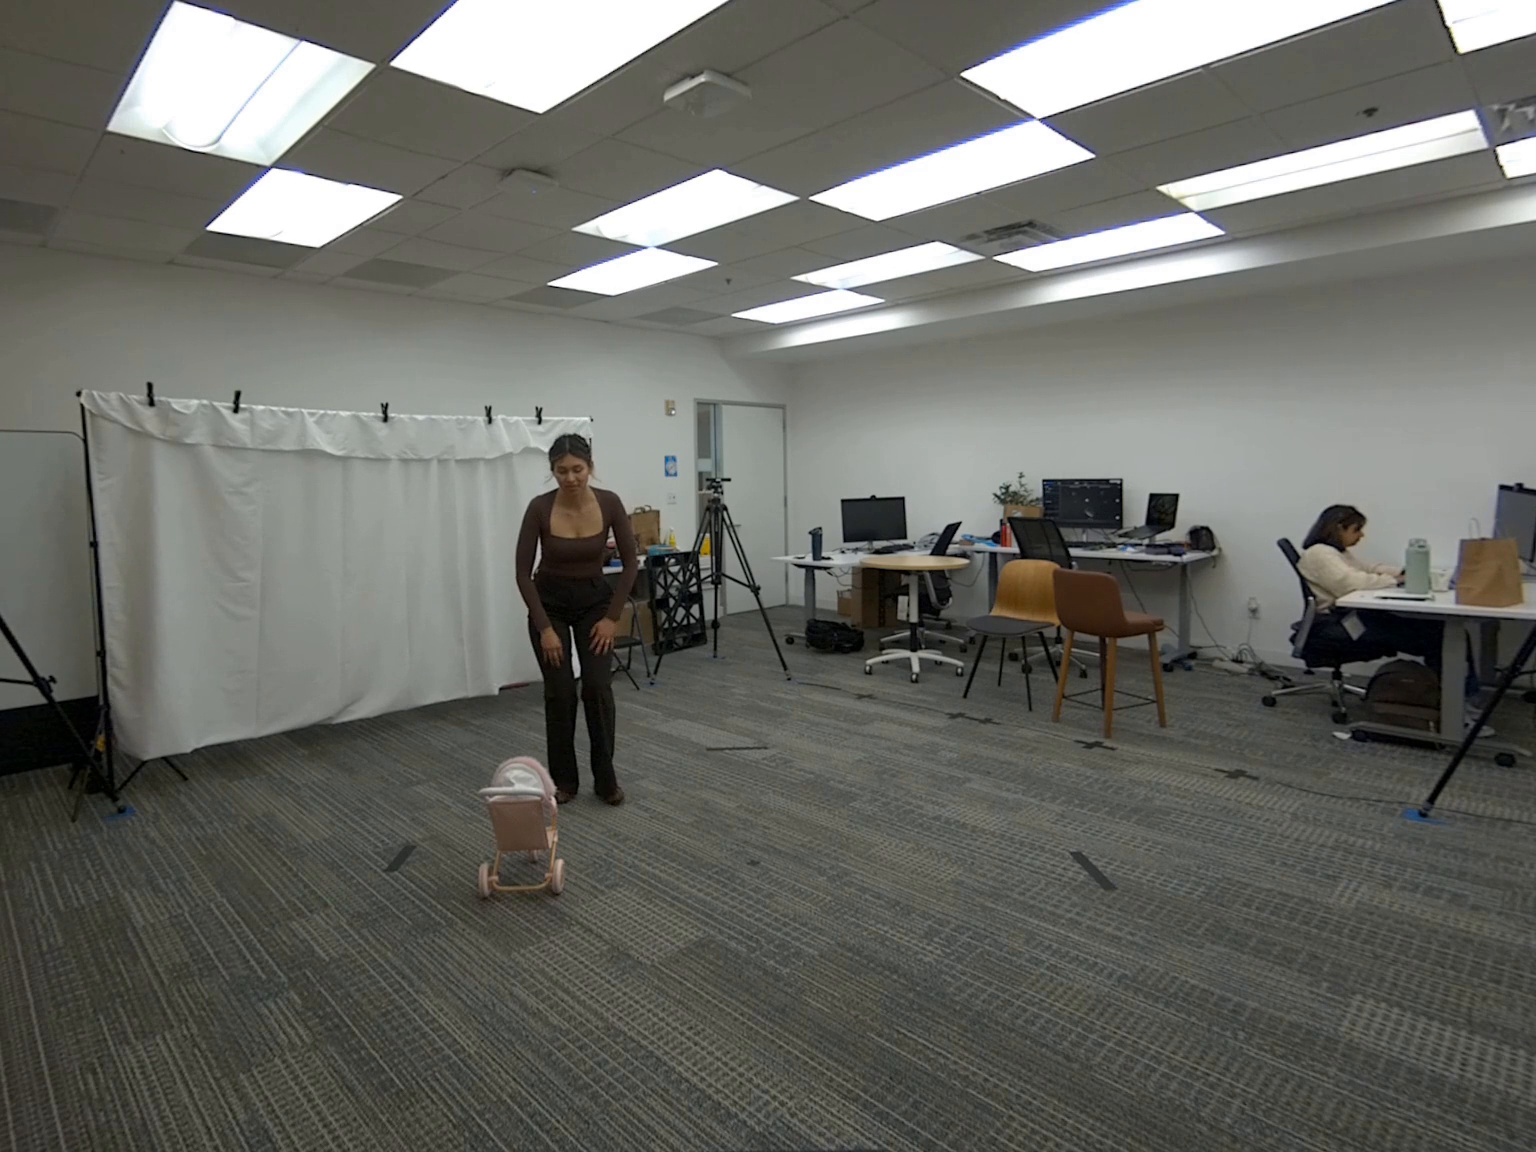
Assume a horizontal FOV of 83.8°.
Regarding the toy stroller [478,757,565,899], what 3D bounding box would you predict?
[{"bbox_3d":[-0.845,0.853,2.956,0.281,0.525,0.348,-1,21,-2],"label":"toy stroller"}]
